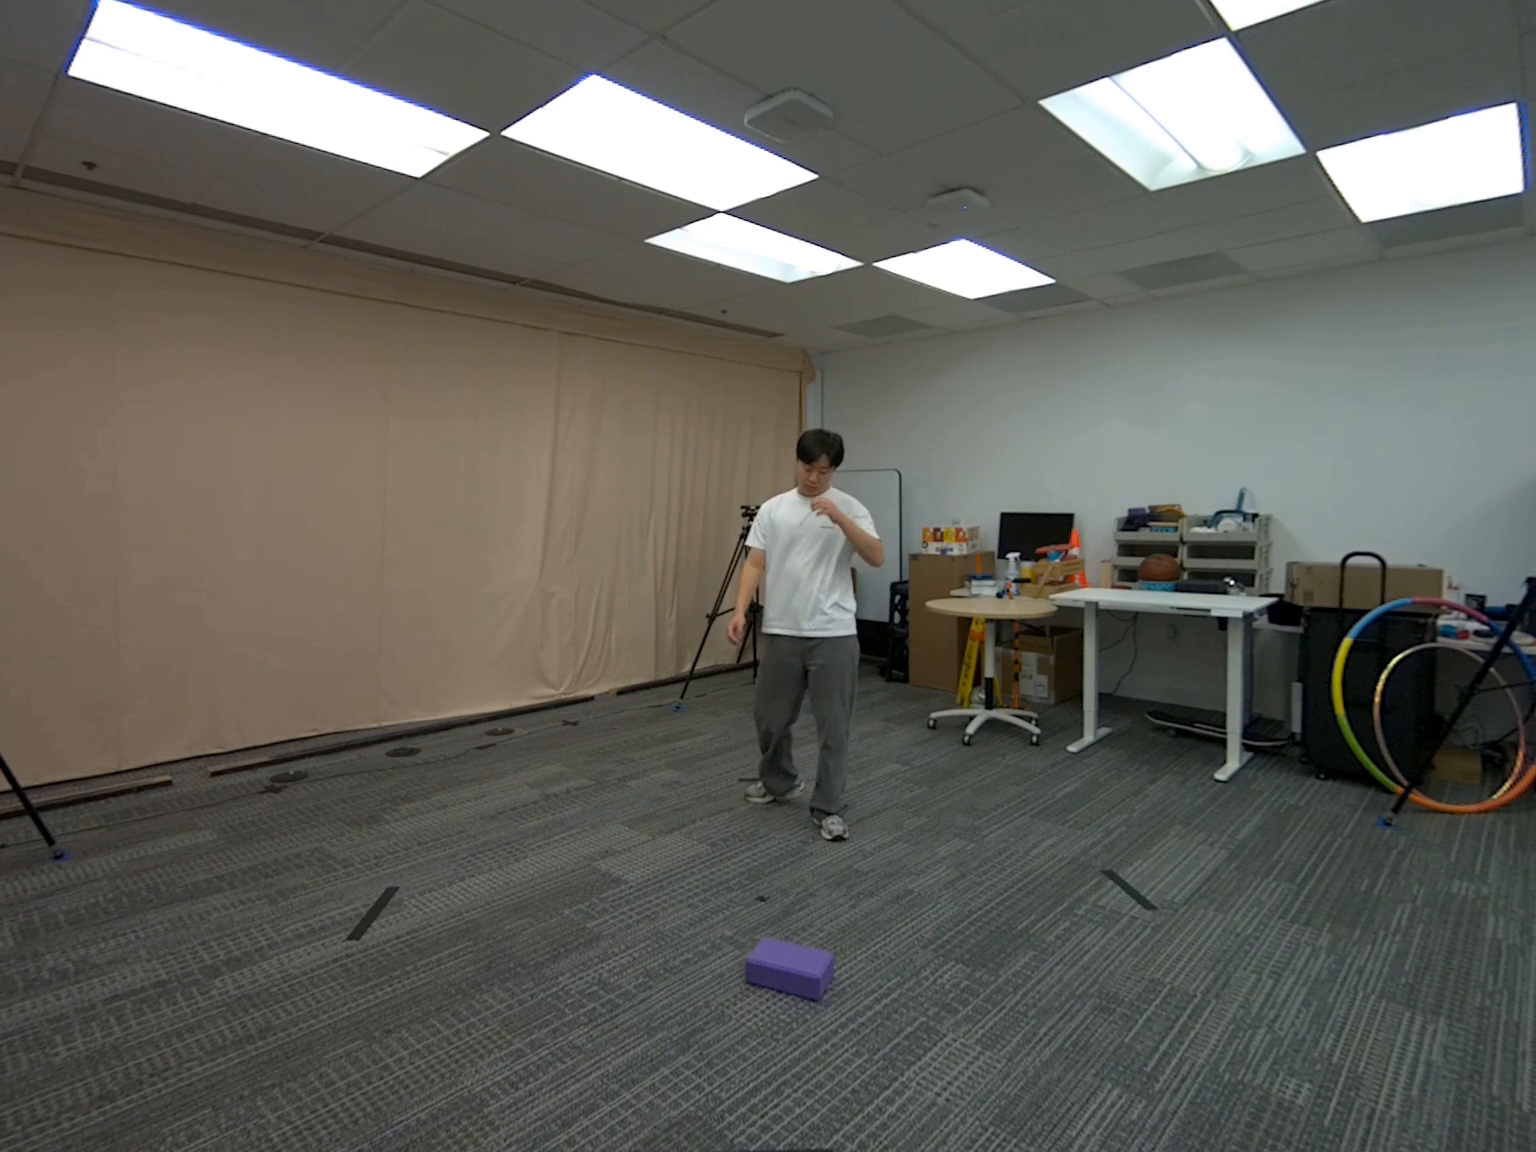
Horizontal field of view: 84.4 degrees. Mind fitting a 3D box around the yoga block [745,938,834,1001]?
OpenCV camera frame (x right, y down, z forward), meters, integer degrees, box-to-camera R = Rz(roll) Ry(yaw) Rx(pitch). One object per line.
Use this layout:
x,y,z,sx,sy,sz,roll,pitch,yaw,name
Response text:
0.066,1.139,2.469,0.235,0.076,0.145,3,5,26,yoga block
